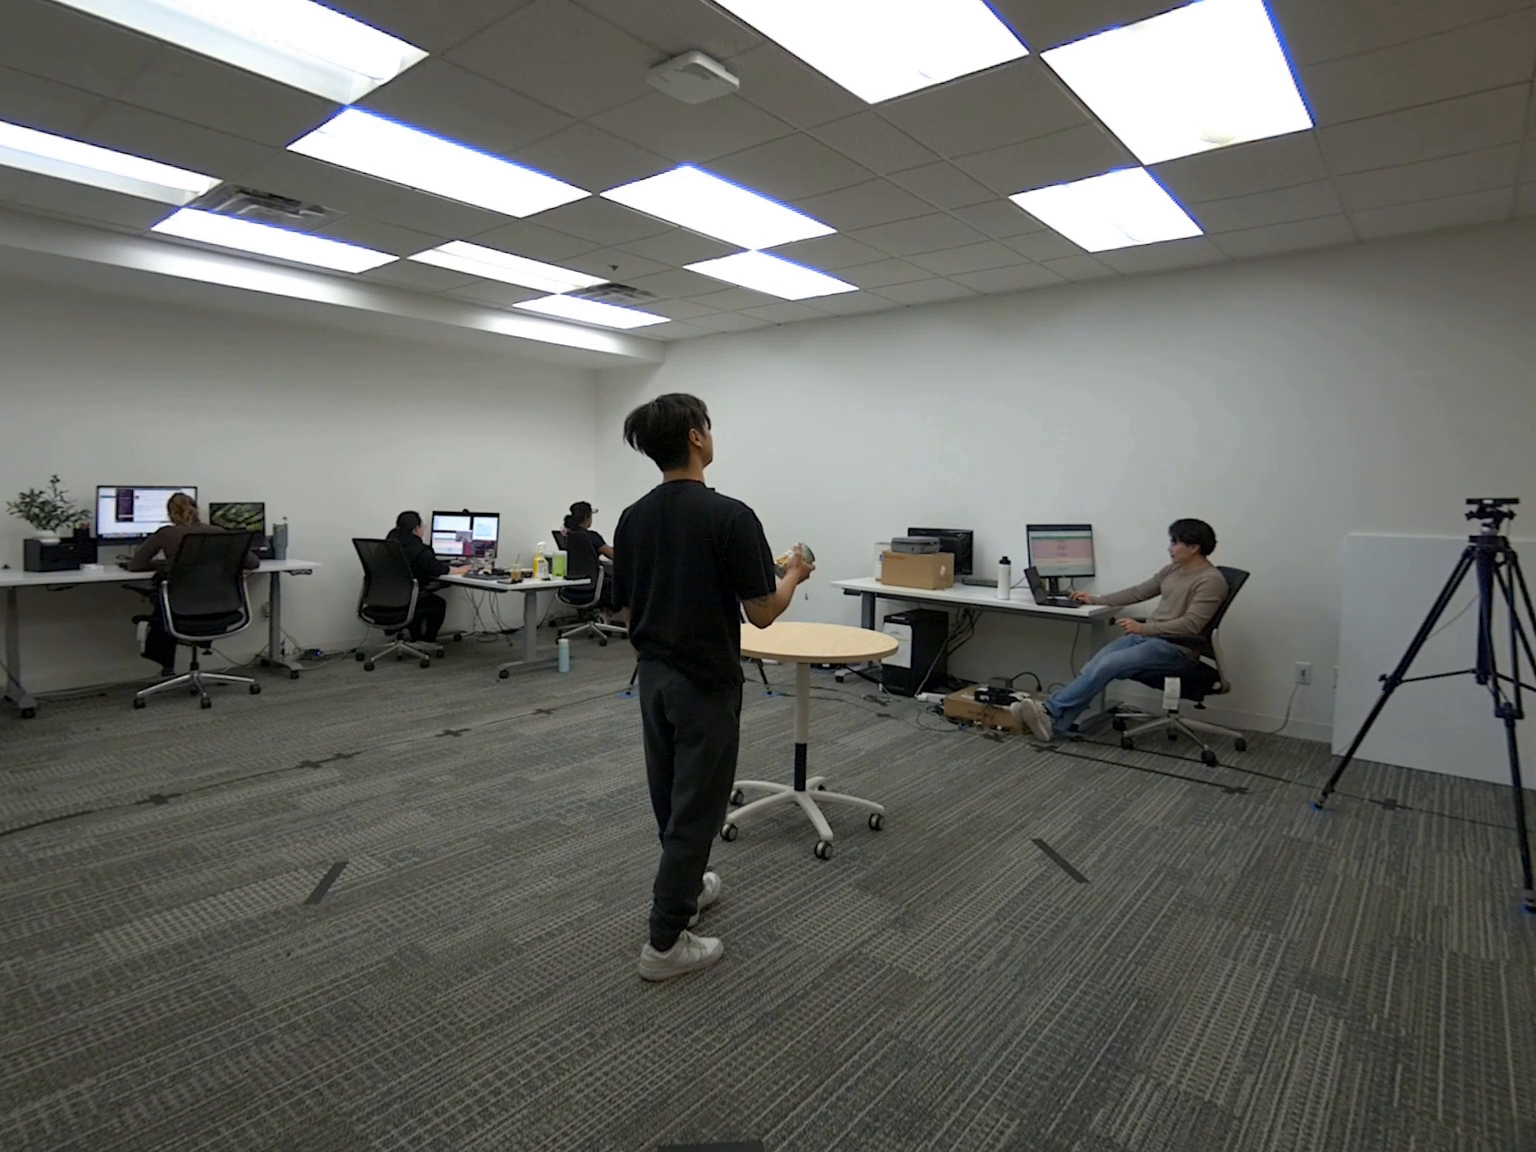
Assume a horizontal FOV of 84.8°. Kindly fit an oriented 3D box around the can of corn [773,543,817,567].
[{"bbox_3d":[0.071,-0.039,2.597,0.110,0.073,0.076,-32,14,-14],"label":"can of corn"}]
